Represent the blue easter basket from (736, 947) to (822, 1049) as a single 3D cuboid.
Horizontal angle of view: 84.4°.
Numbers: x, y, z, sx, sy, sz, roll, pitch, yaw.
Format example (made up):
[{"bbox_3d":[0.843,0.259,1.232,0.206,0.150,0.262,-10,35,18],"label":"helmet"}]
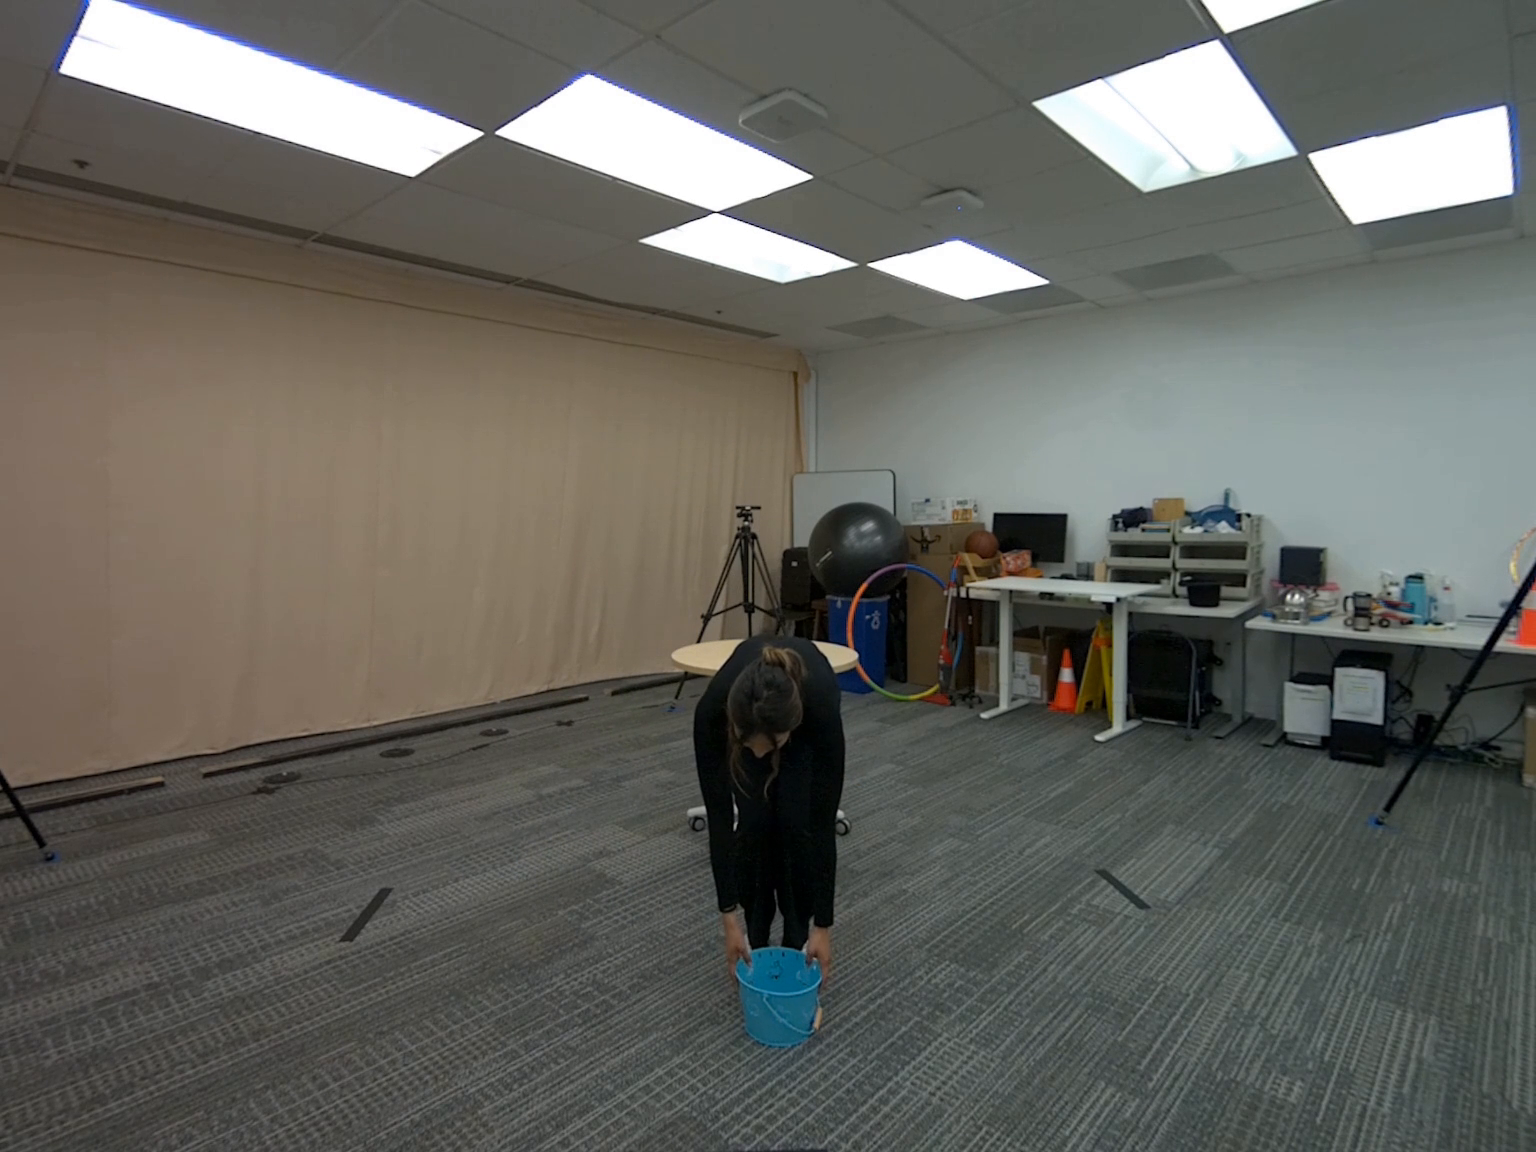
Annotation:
[{"bbox_3d":[0.034,1.113,2.255,0.243,0.155,0.244,-1,5,-2],"label":"blue easter basket"}]
